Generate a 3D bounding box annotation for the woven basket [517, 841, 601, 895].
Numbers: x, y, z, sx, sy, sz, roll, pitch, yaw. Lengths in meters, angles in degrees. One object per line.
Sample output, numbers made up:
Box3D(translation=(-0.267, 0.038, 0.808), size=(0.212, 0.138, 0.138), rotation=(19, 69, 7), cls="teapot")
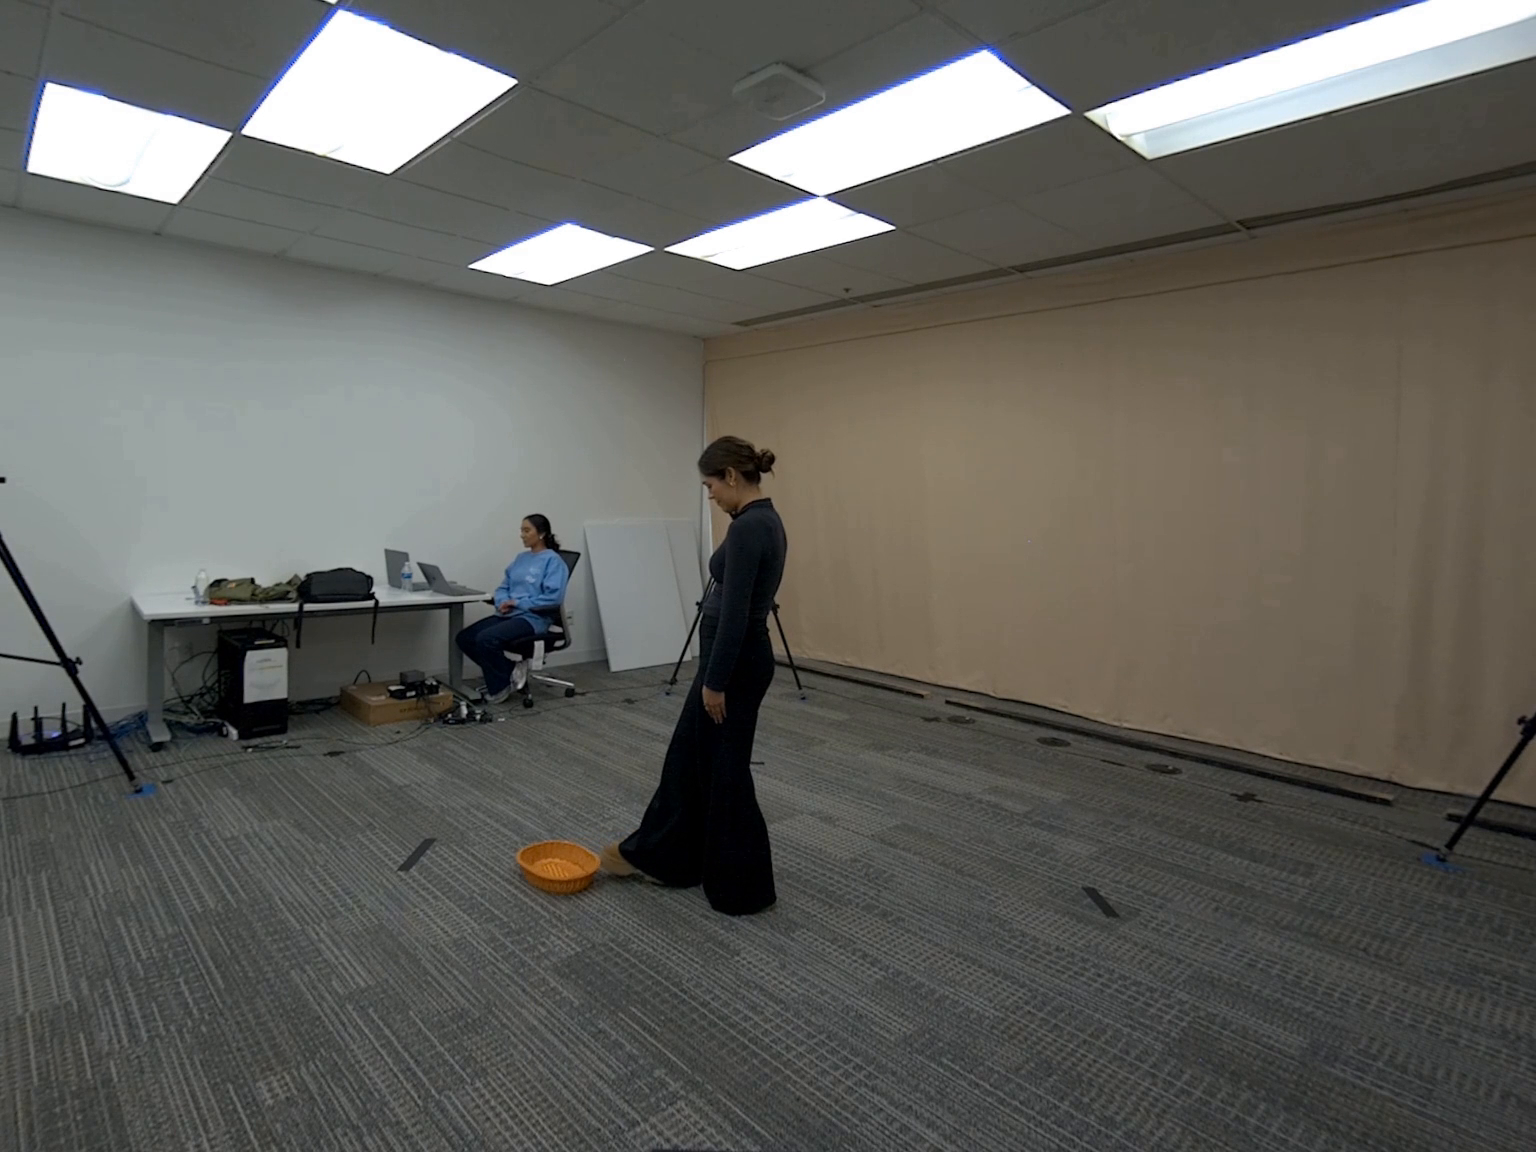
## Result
Box3D(translation=(-0.758, 1.047, 3.046), size=(0.359, 0.073, 0.247), rotation=(5, 6, 43), cls="woven basket")
